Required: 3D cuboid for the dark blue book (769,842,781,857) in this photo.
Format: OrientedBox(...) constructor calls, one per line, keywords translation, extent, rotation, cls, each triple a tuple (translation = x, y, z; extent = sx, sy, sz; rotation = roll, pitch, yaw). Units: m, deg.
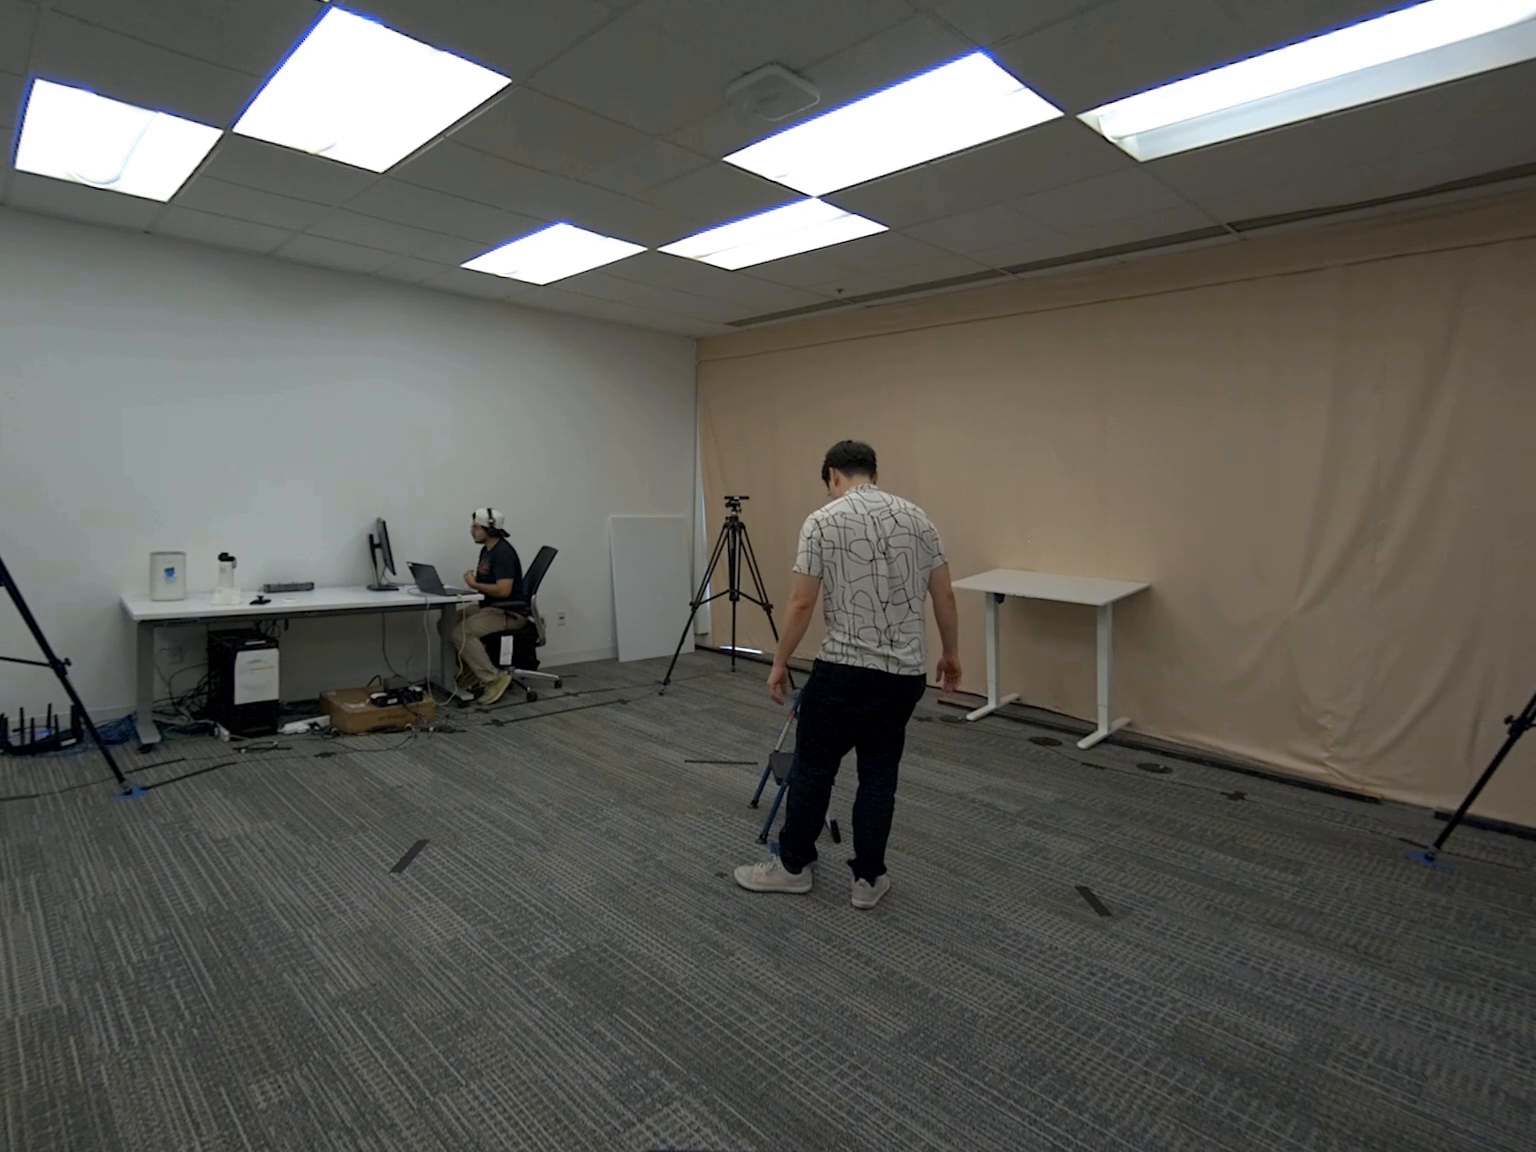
OrientedBox(translation=(0.082, 1.091, 3.170), extent=(0.164, 0.045, 0.245), rotation=(3, 5, 3), cls="dark blue book")
